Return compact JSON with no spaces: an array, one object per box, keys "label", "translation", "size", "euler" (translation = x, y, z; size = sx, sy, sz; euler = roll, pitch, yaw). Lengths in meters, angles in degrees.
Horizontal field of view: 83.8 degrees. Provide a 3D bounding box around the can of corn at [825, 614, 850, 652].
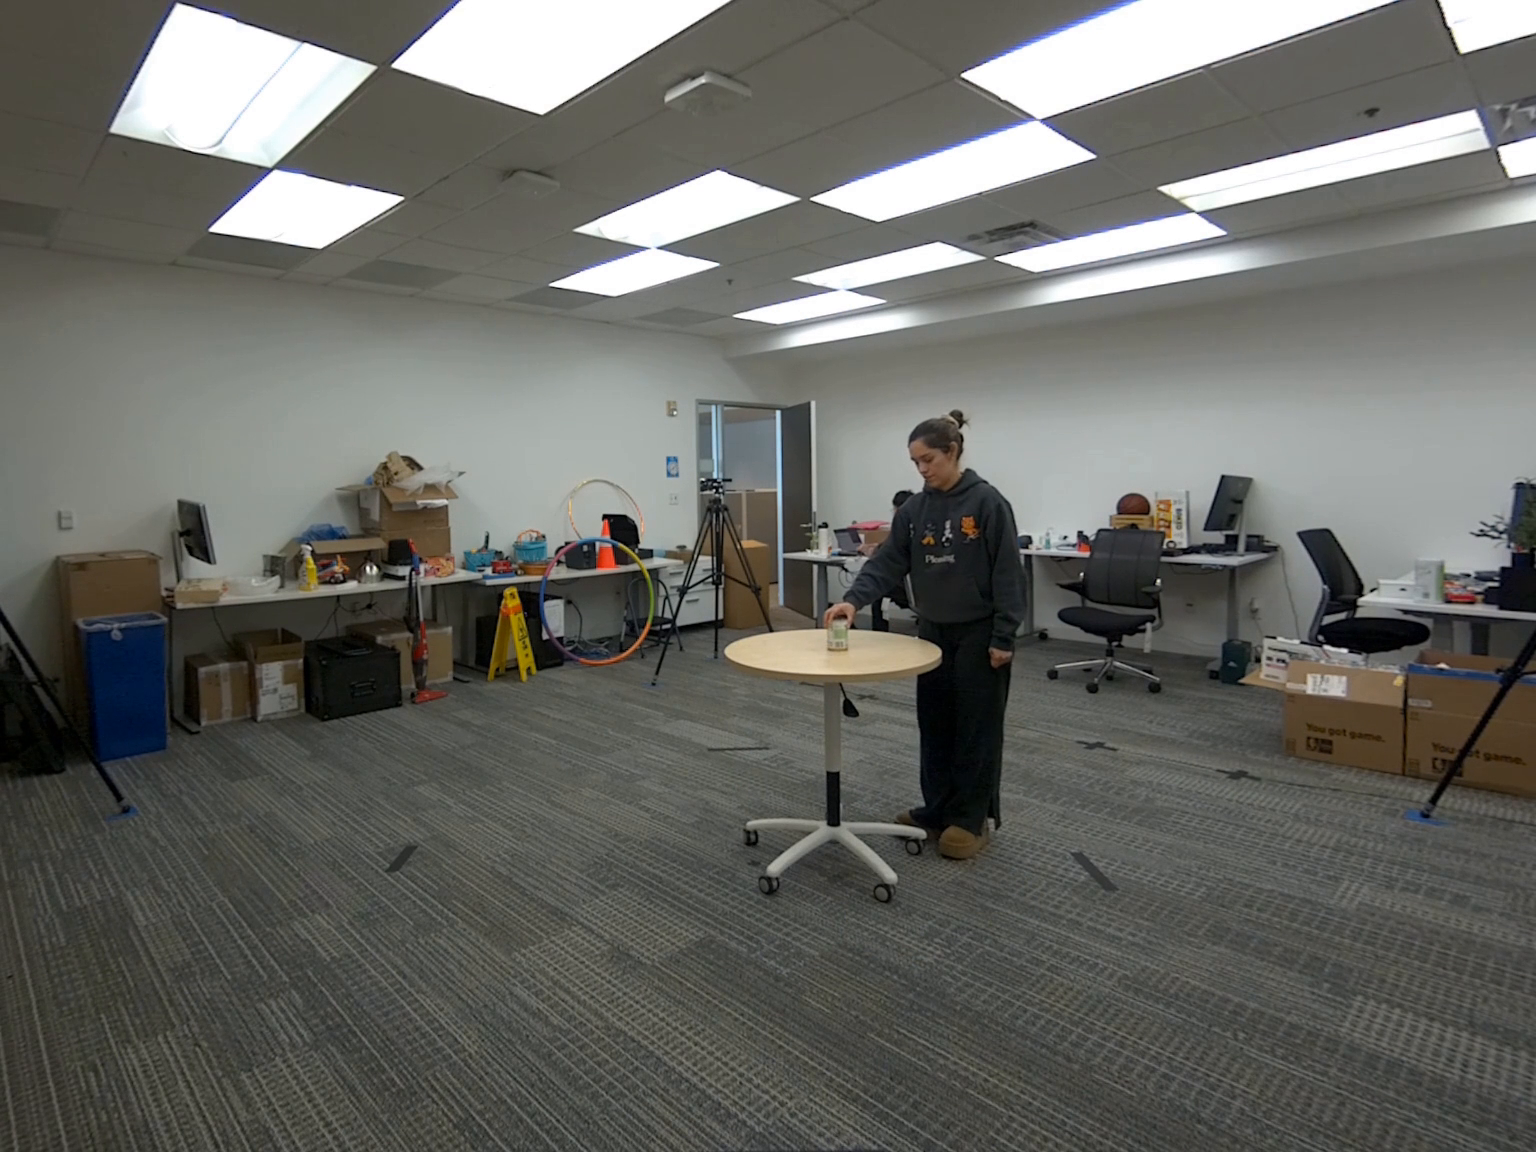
[{"label":"can of corn","translation":[0.253,0.204,3.044],"size":[0.074,0.111,0.074],"euler":[-2,3,-2]}]
